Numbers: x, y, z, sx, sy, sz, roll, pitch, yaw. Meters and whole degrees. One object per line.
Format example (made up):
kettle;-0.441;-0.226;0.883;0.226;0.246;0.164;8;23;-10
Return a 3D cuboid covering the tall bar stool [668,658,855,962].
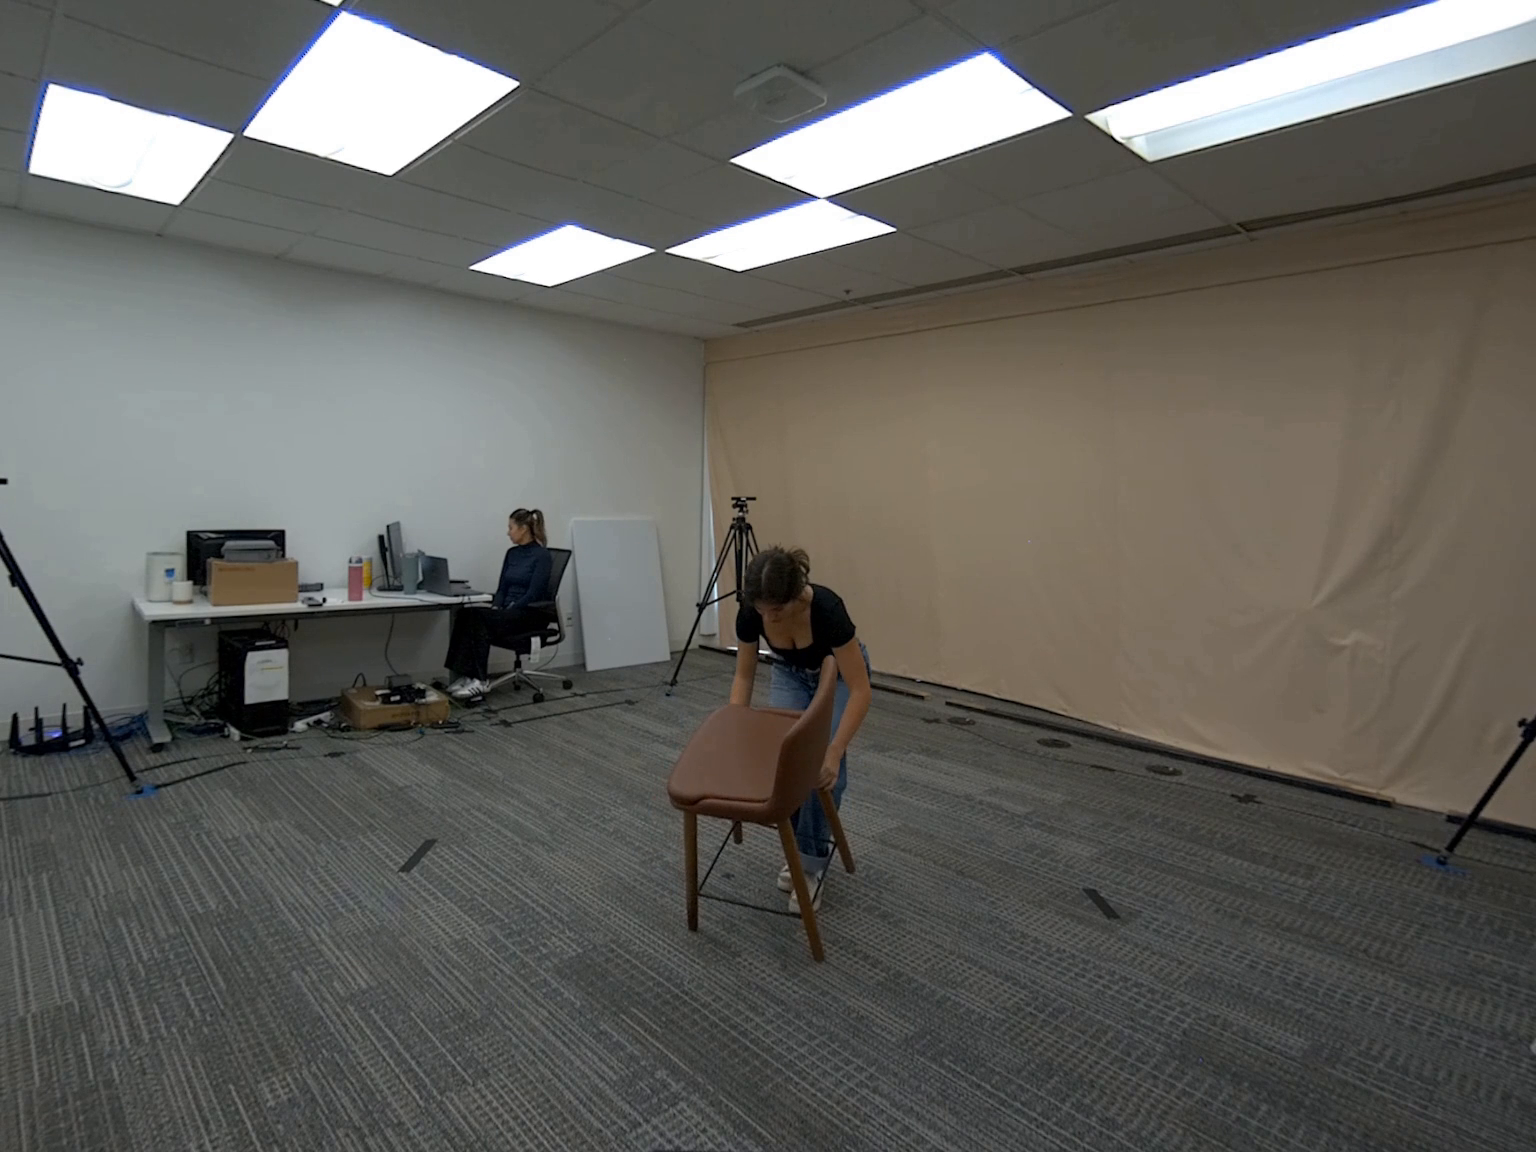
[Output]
tall bar stool;-0.030;0.690;2.580;0.476;0.872;0.457;7;30;22
